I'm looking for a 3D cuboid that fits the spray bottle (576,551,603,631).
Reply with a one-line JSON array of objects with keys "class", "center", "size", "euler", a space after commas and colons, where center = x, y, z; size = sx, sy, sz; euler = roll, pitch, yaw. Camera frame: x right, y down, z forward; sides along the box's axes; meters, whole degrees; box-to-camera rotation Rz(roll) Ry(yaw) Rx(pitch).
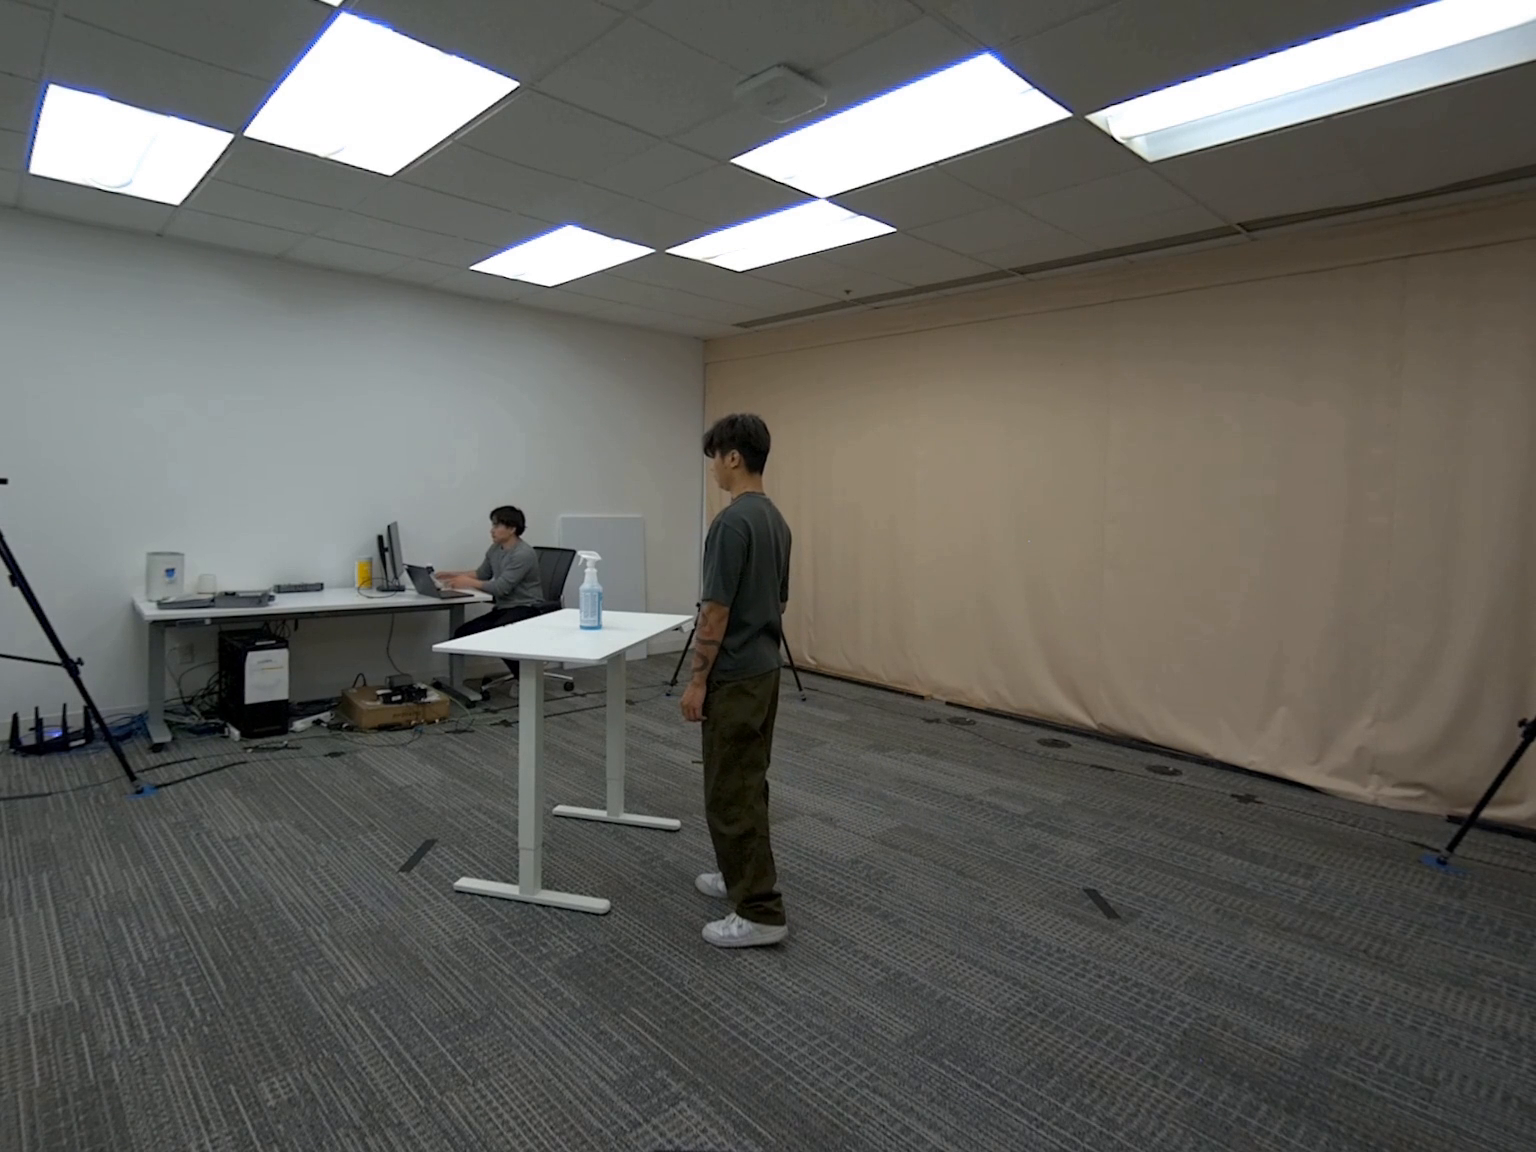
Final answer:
[{"class": "spray bottle", "center": [-0.686, 0.056, 3.223], "size": [0.092, 0.297, 0.085], "euler": [2, 3, 31]}]
